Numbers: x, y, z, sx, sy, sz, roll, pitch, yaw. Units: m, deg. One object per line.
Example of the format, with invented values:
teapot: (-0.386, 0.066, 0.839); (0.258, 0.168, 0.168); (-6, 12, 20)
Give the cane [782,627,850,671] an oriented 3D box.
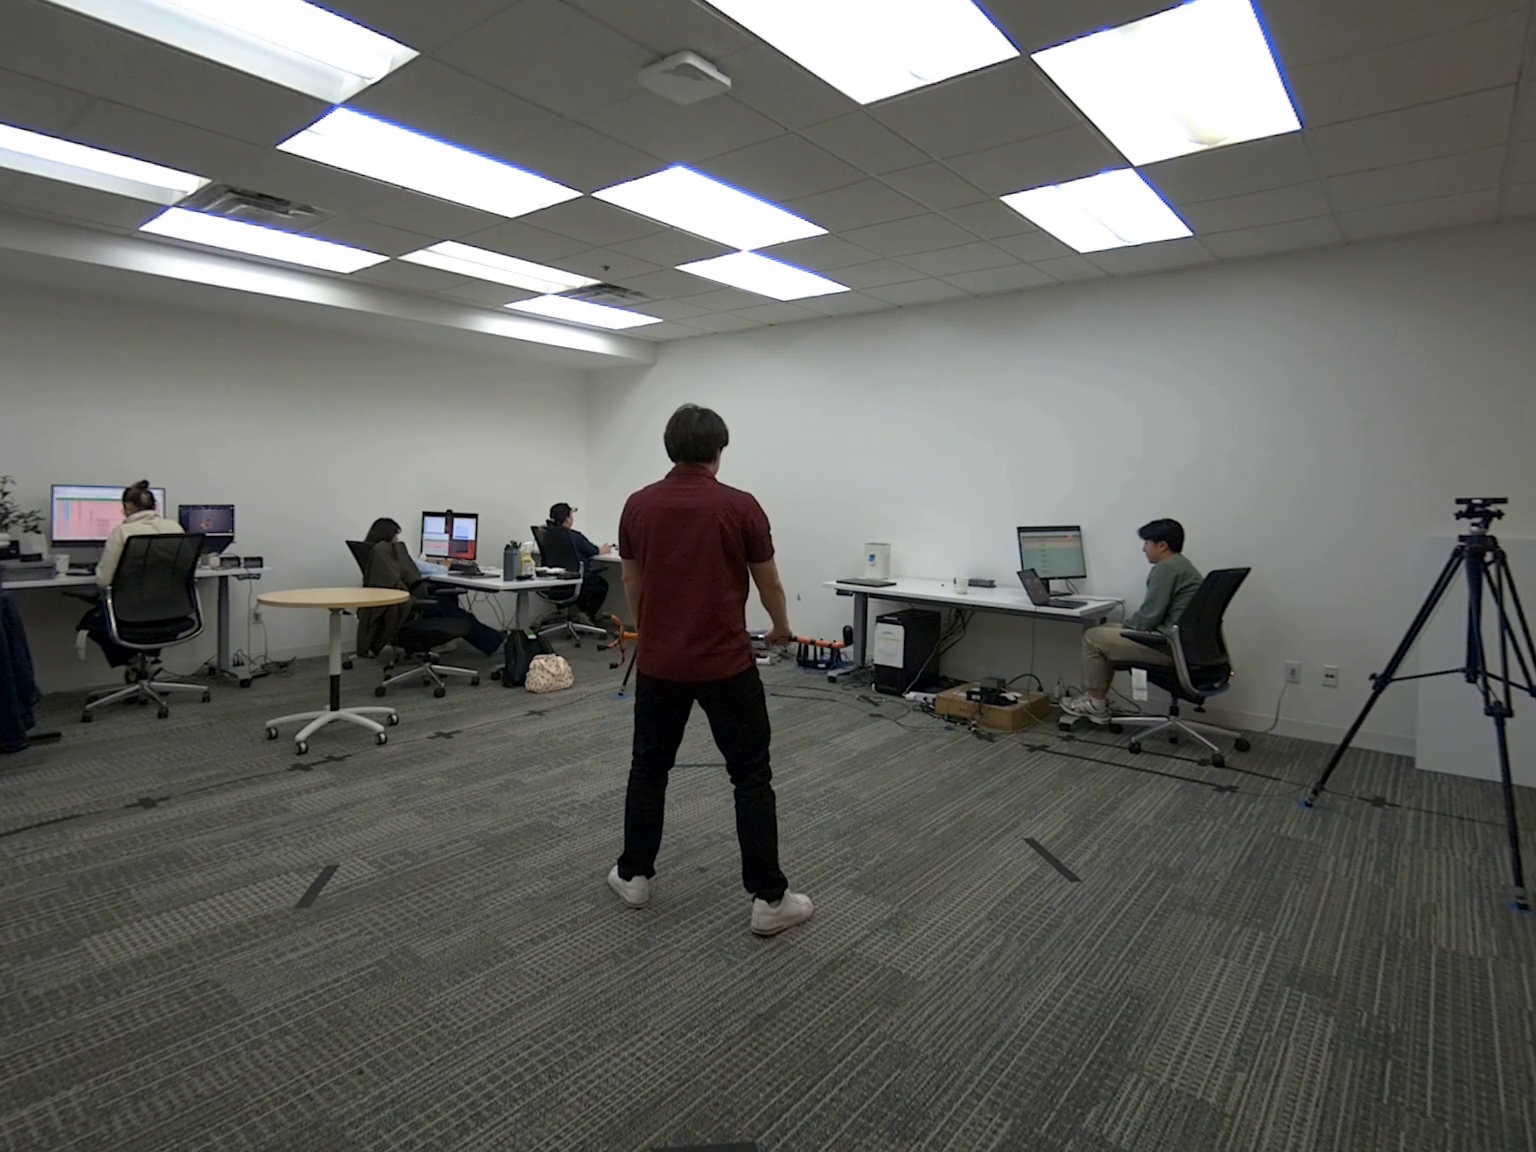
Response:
cane: (-0.147, 0.229, 3.115); (0.918, 0.155, 0.200); (-1, -28, 10)
